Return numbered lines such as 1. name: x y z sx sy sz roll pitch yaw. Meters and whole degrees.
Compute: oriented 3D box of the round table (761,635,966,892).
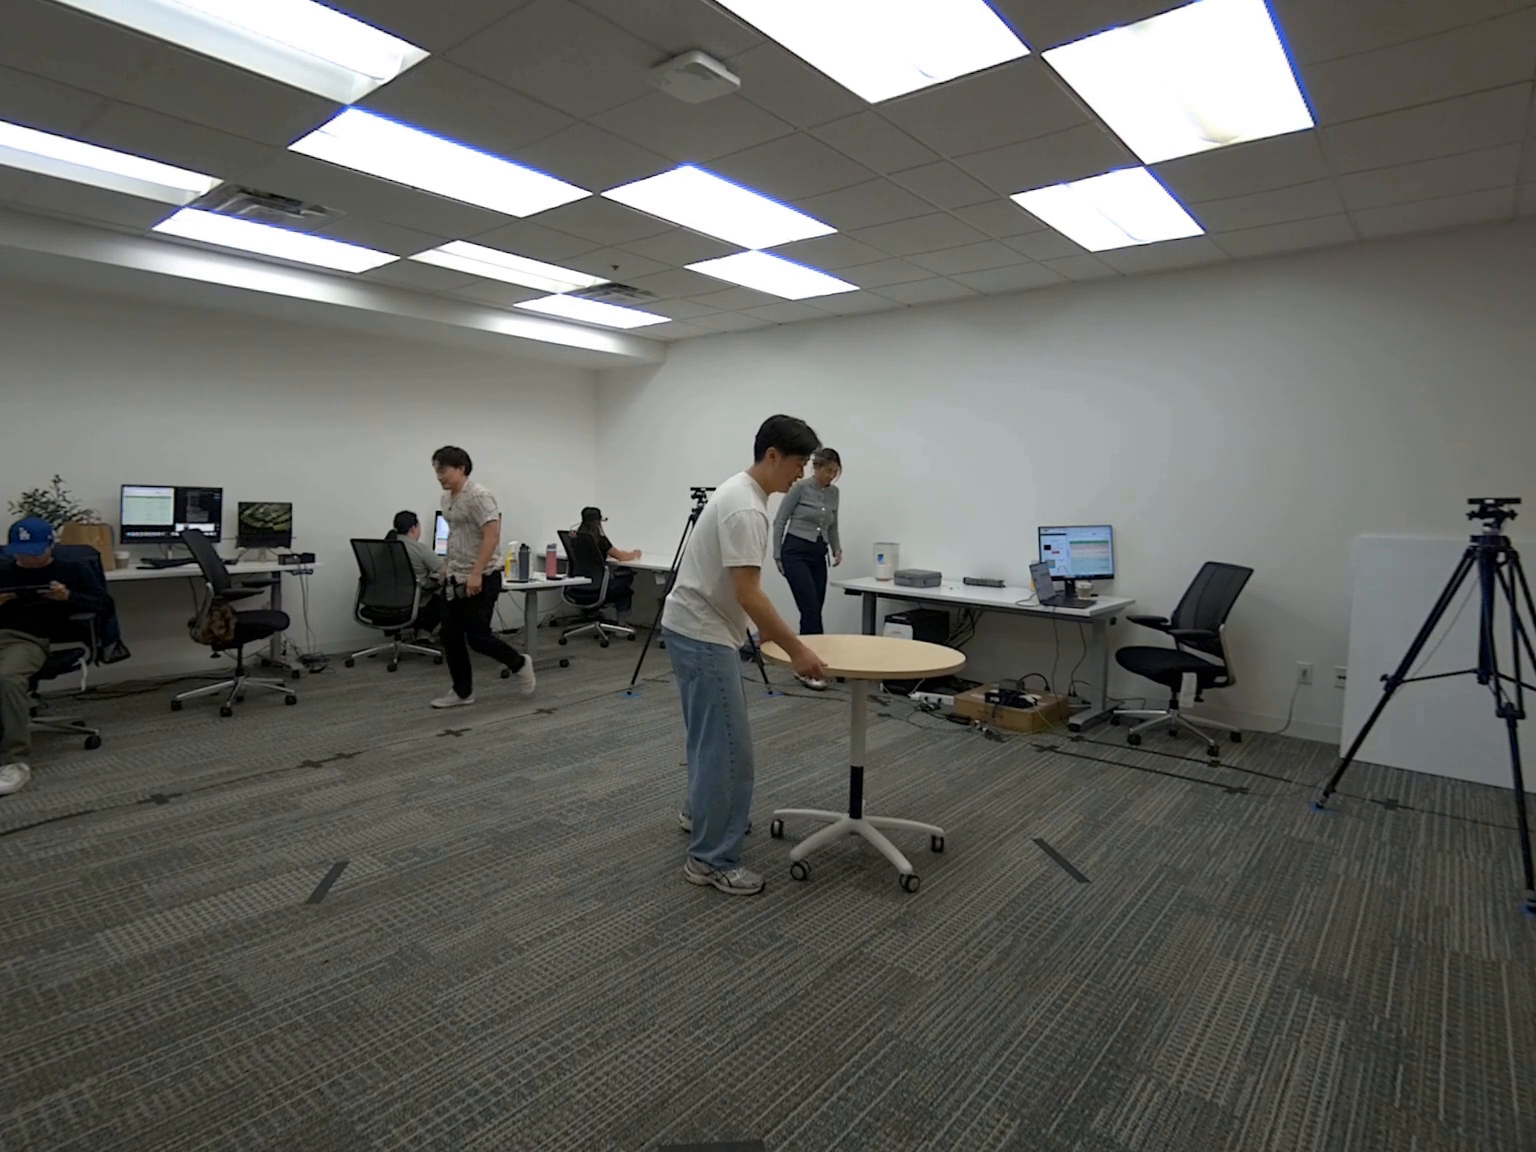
1. round table: 0.341 0.671 3.265 0.784 0.784 0.789 1 5 -2
